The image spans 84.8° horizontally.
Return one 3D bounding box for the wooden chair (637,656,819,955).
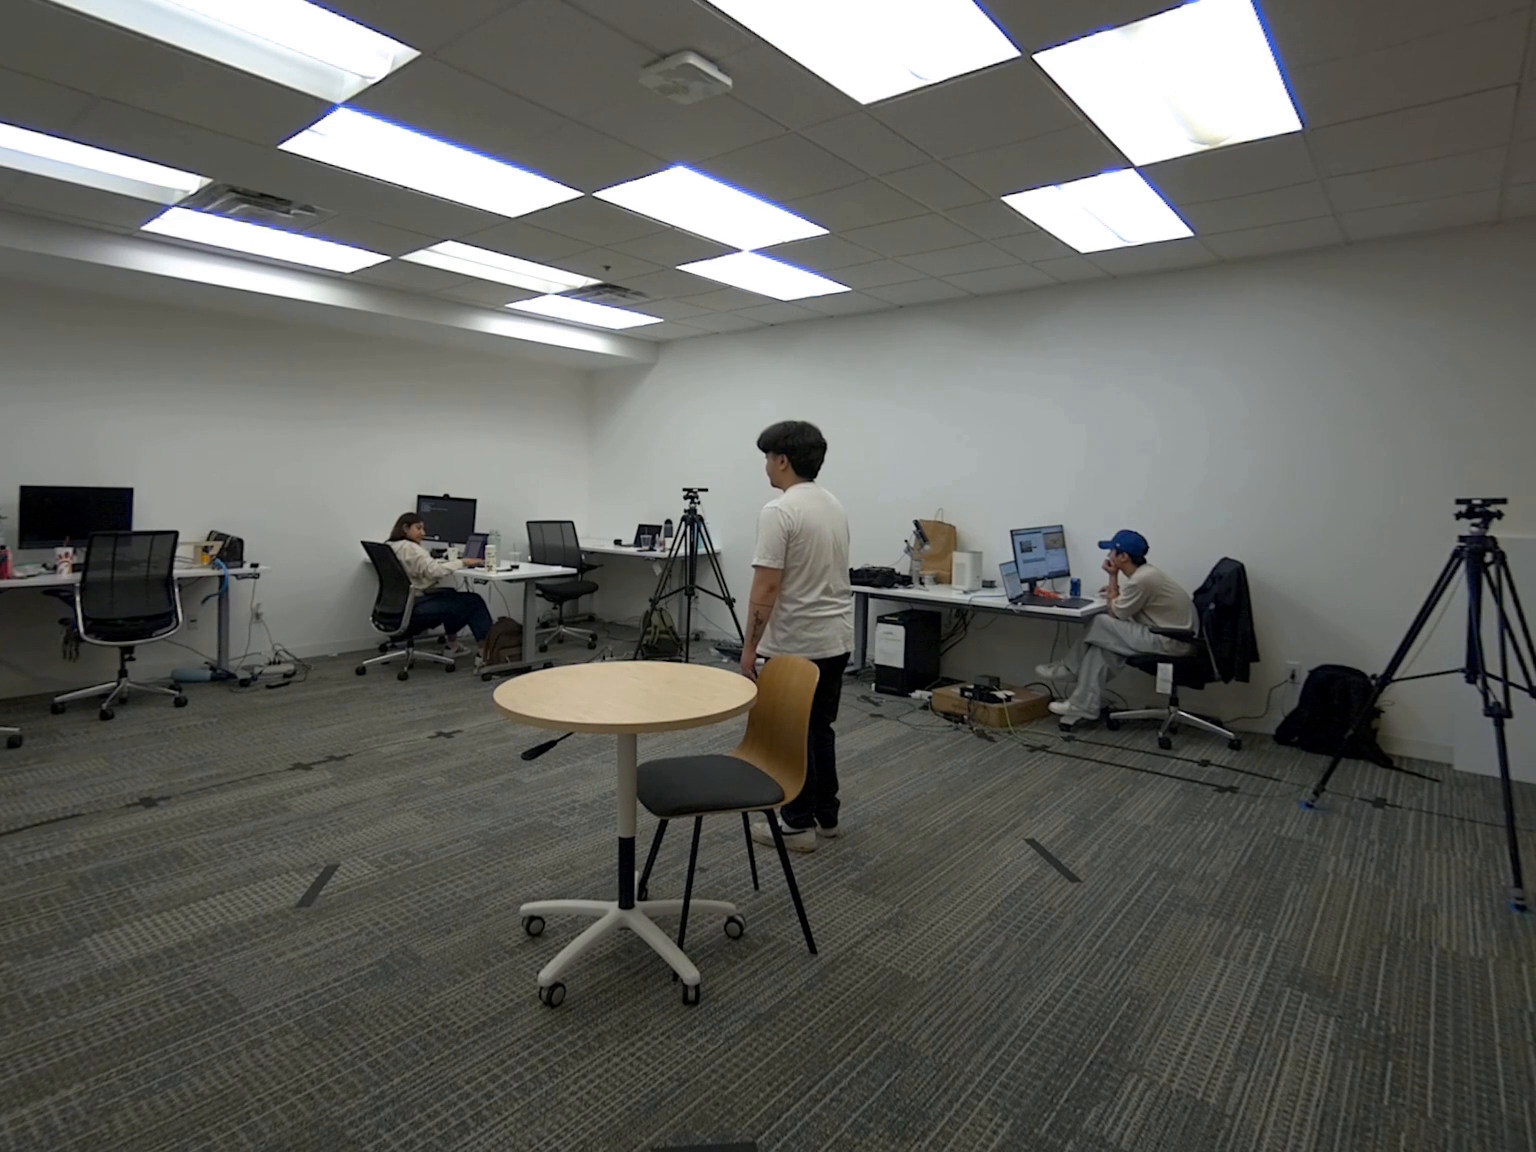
[{"bbox_3d":[-0.154,0.686,2.656,0.511,0.876,0.490,5,2,-23],"label":"wooden chair"}]
